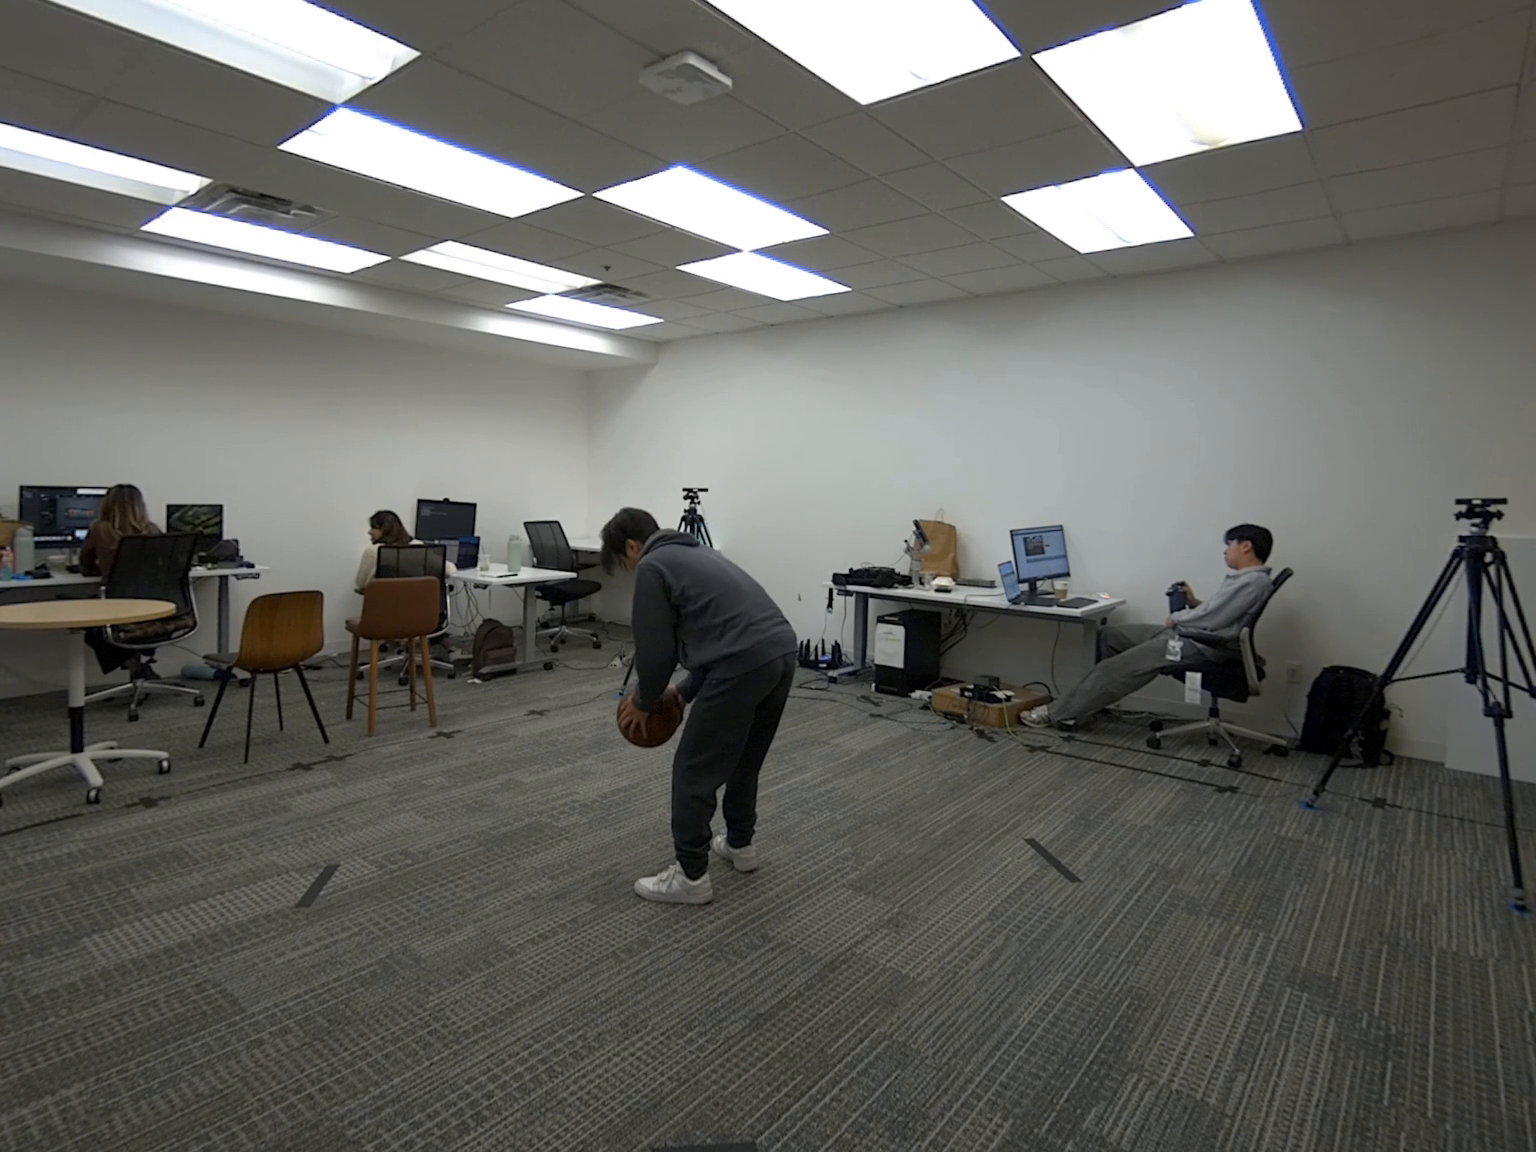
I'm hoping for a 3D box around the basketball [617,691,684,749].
[{"bbox_3d":[-0.457,0.526,3.201,0.235,0.235,0.237,1,4,-2],"label":"basketball"}]
